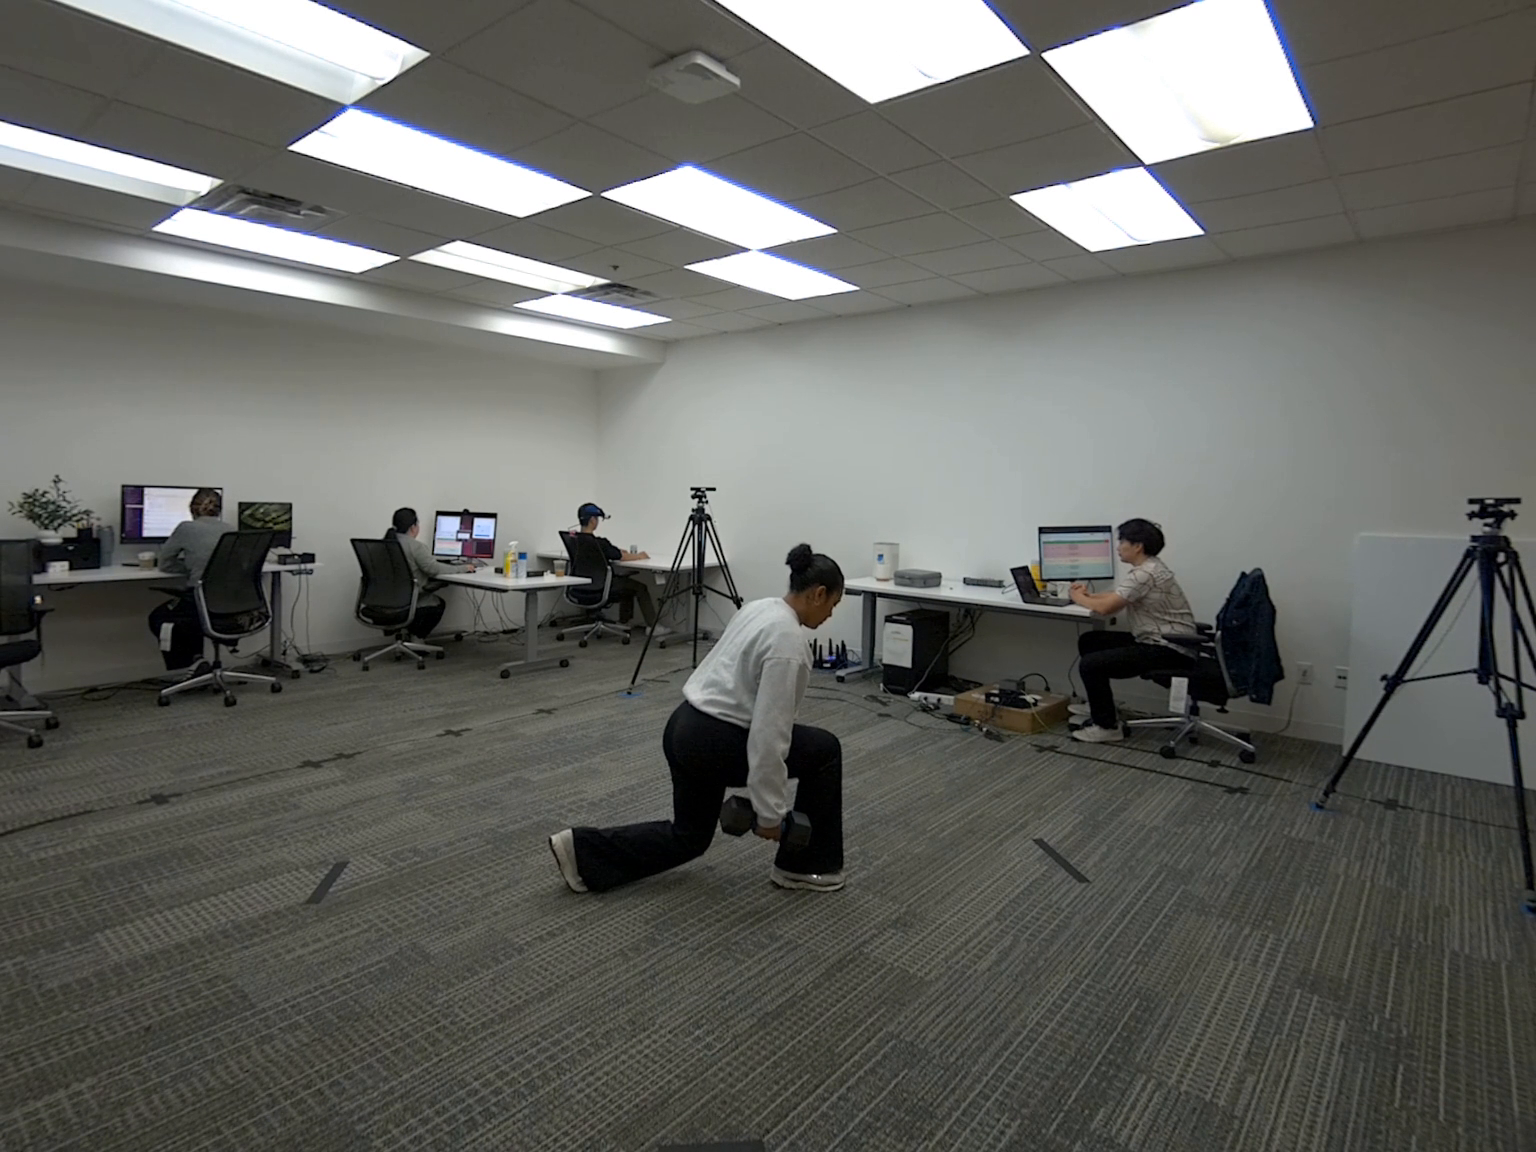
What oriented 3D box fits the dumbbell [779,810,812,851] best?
[{"bbox_3d":[-0.008,0.794,2.762,0.287,0.124,0.110,18,-13,-19],"label":"dumbbell"}]
